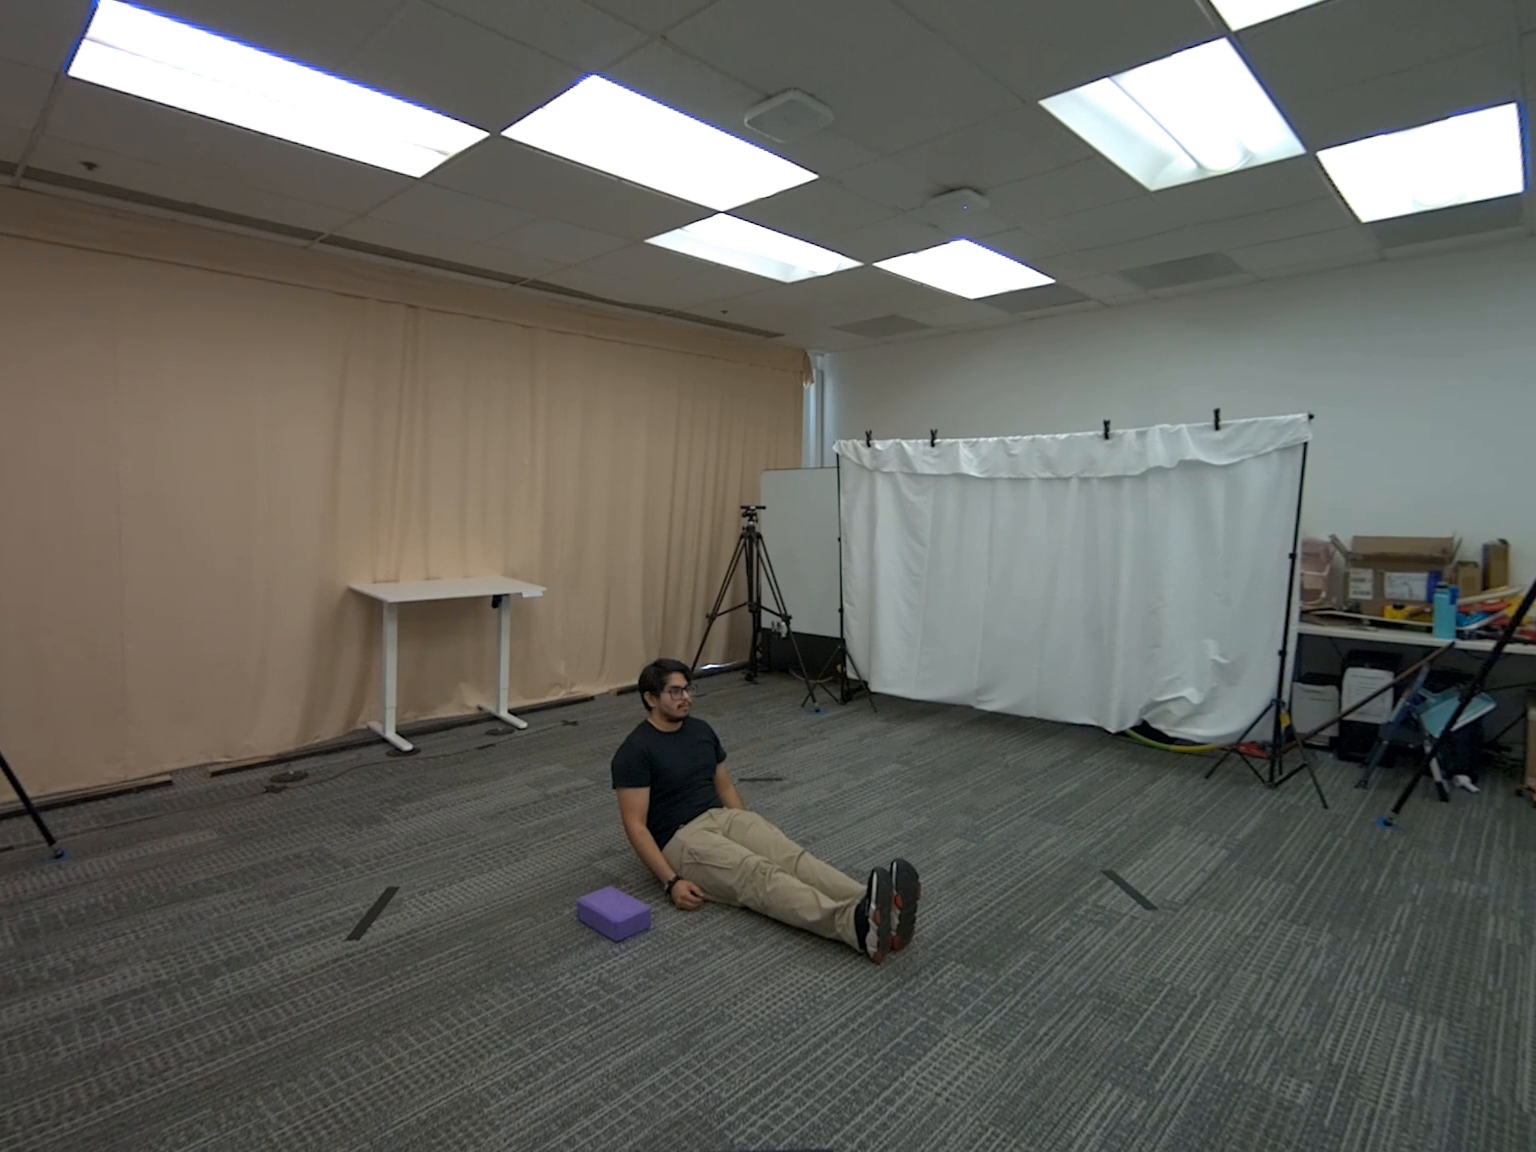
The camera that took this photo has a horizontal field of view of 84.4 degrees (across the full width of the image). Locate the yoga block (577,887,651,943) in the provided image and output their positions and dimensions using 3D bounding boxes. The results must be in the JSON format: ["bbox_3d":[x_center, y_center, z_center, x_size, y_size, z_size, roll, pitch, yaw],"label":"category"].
[{"bbox_3d":[-0.514,1.118,2.808,0.144,0.076,0.237,-6,8,-45],"label":"yoga block"}]
